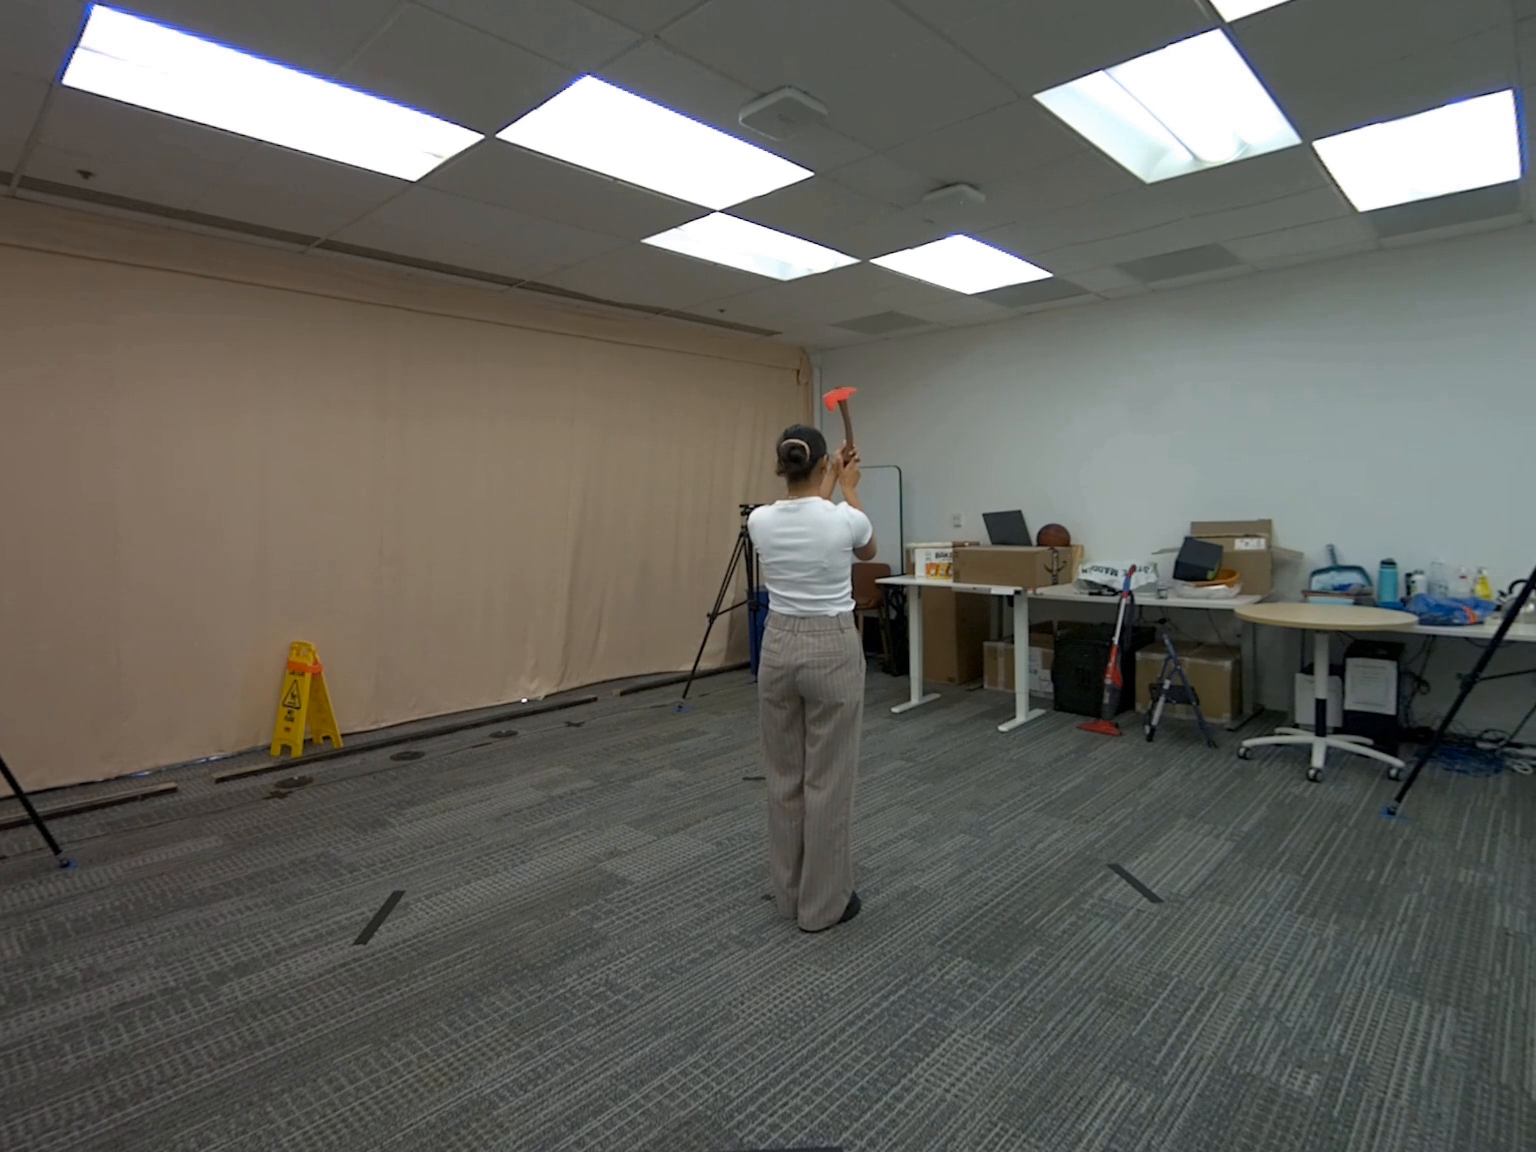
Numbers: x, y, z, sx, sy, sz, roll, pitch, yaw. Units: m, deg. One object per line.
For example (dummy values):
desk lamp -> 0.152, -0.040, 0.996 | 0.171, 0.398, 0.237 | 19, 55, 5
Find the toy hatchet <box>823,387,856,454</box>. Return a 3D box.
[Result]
toy hatchet -> 0.260, -0.546, 2.996 | 0.128, 0.270, 0.030 | 3, -2, -21
